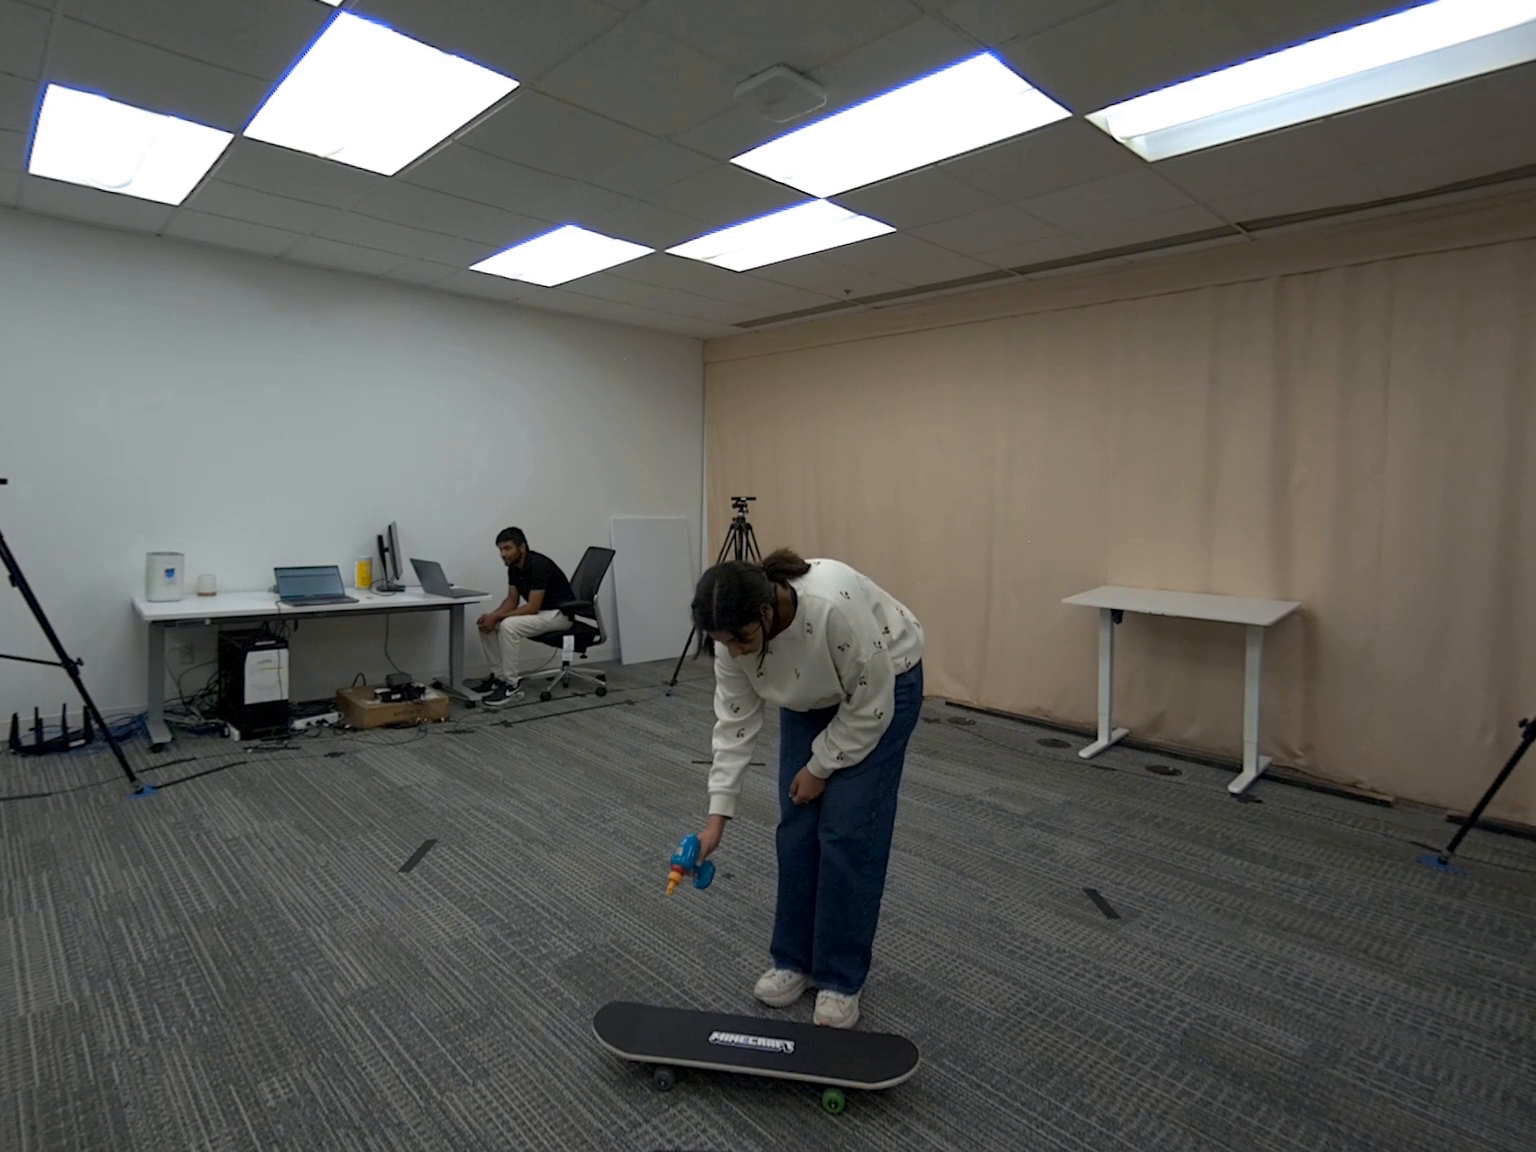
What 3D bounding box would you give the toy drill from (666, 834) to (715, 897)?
[{"bbox_3d":[-0.208,0.754,2.114,0.062,0.142,0.171,-10,35,29],"label":"toy drill"}]
